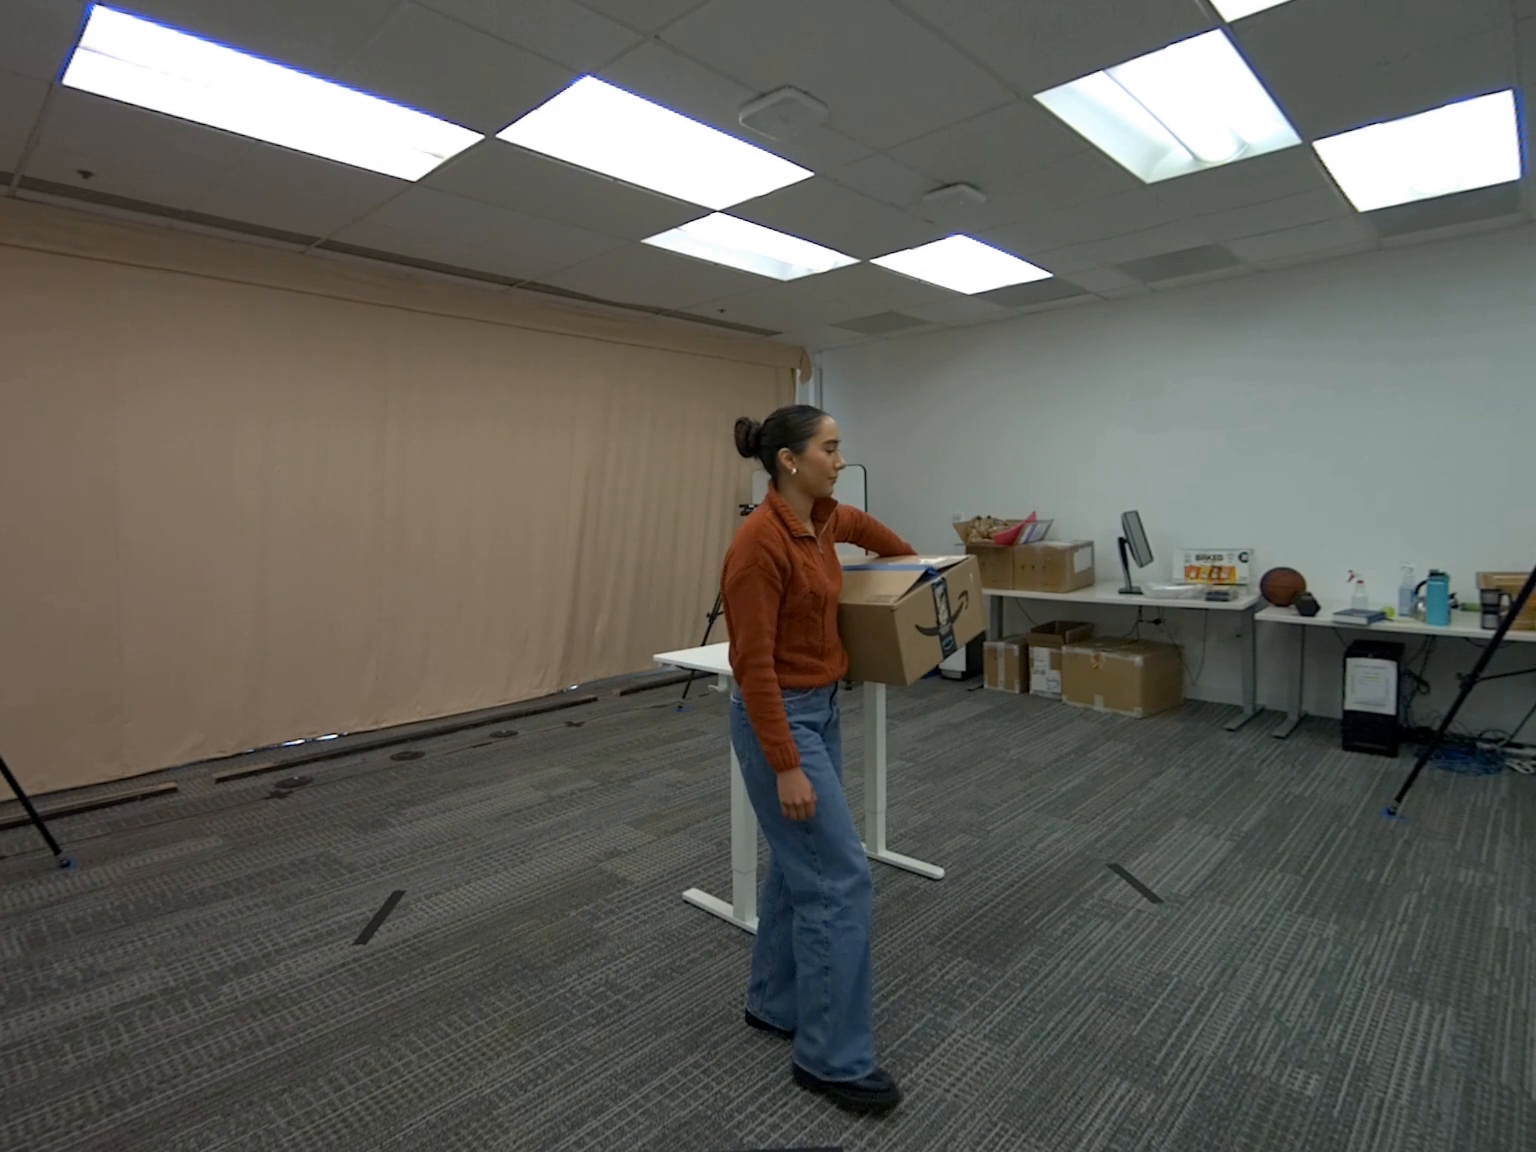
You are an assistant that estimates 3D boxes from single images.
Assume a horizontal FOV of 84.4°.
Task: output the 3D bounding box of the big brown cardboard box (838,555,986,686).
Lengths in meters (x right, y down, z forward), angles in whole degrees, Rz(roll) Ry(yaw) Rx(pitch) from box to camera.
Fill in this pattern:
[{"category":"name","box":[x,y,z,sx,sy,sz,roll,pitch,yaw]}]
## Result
[{"category":"big brown cardboard box","box":[0.248,0.103,2.372,0.607,0.231,0.408,-1,17,44]}]
